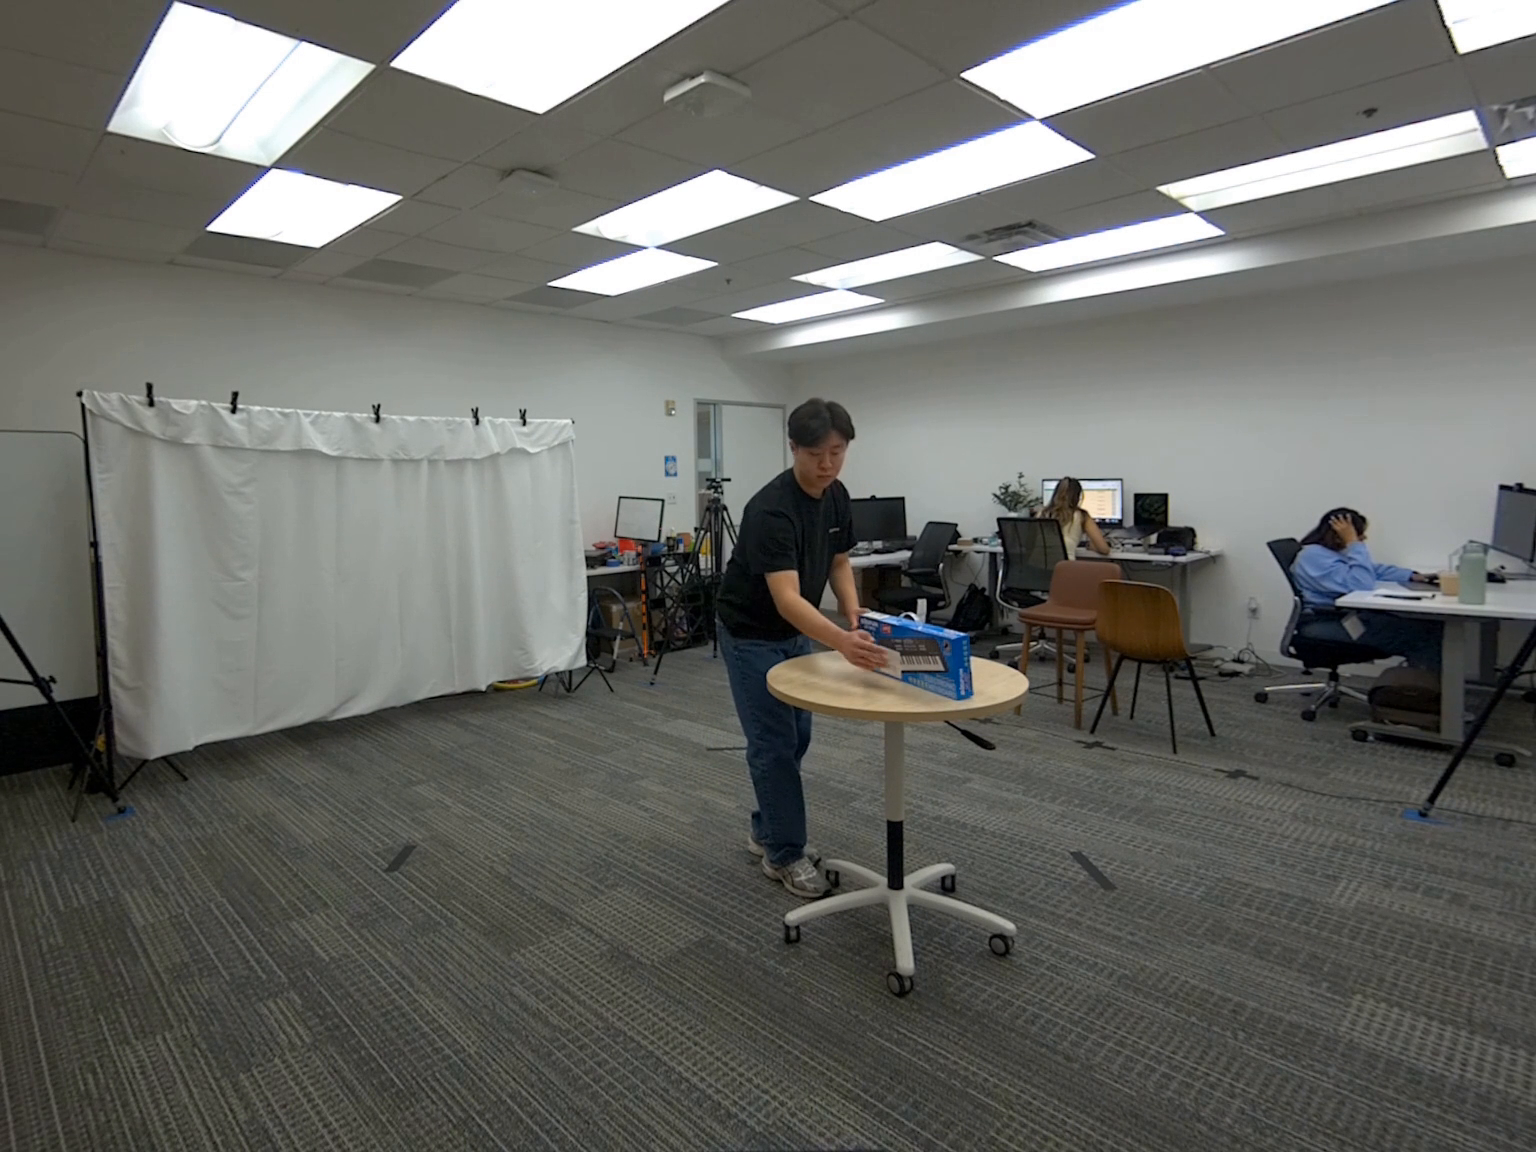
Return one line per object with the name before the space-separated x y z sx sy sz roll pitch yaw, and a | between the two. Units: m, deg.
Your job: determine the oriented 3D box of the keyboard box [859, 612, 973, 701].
keyboard box | 0.424 0.228 2.468 0.058 0.175 0.448 -8 9 -26
